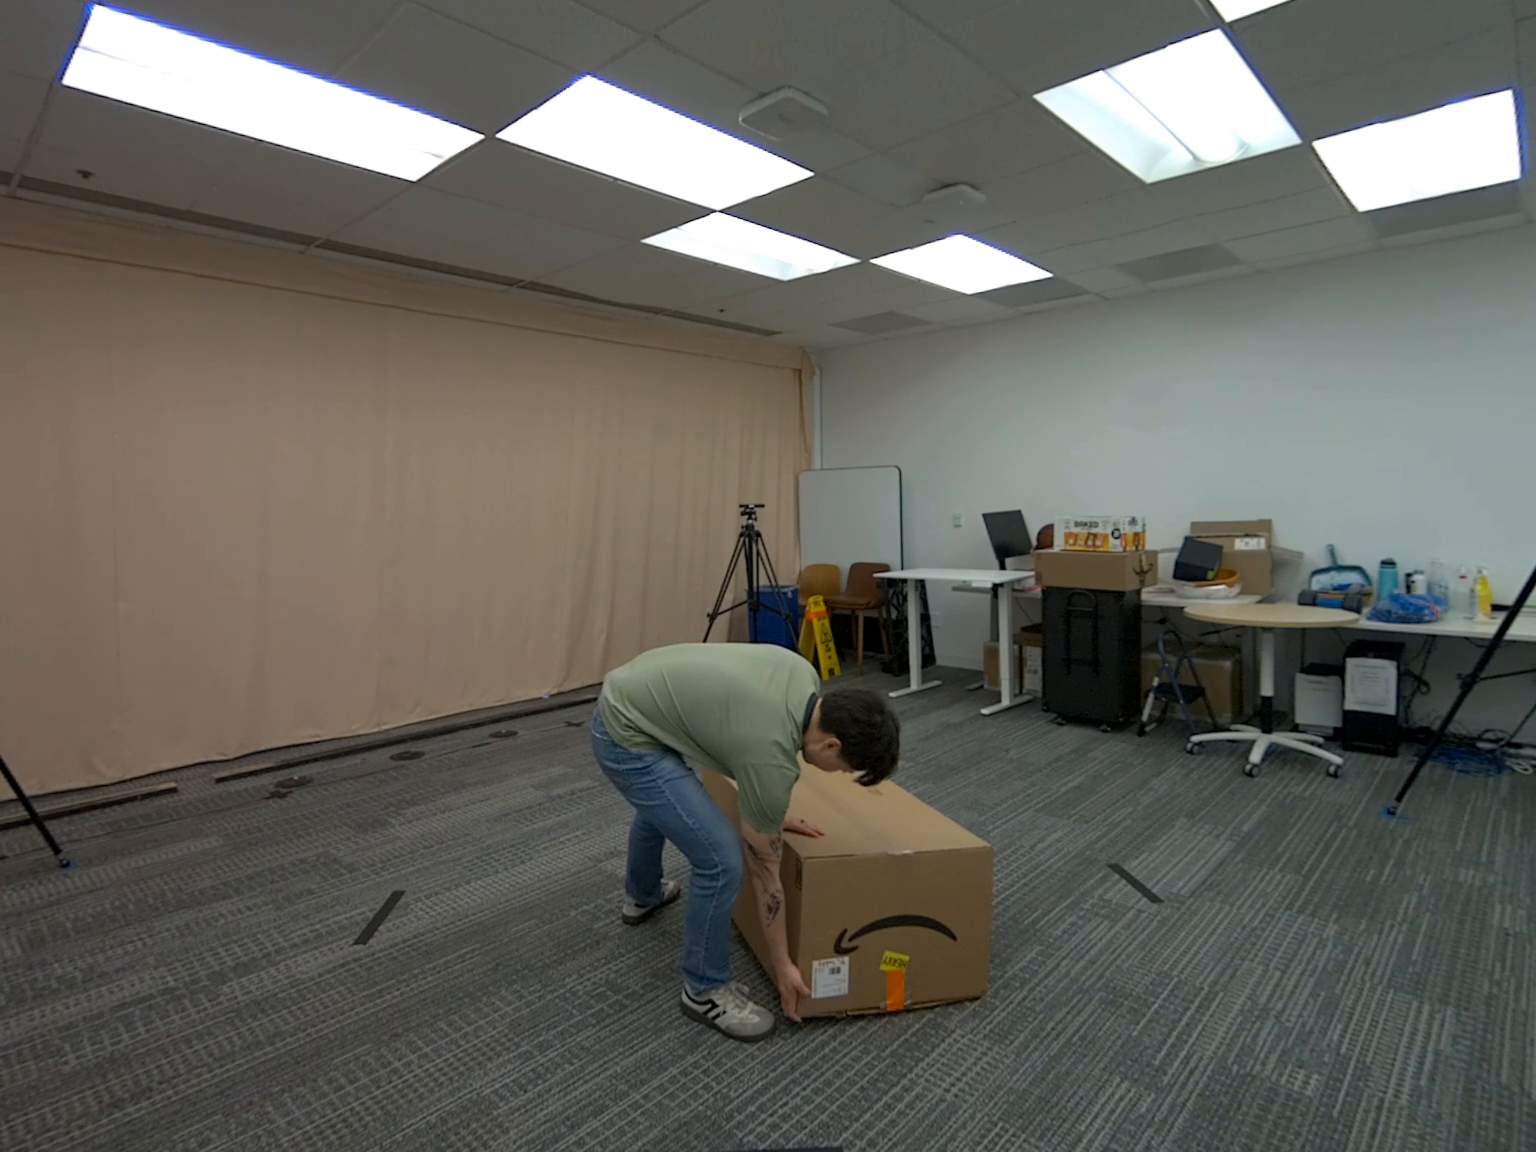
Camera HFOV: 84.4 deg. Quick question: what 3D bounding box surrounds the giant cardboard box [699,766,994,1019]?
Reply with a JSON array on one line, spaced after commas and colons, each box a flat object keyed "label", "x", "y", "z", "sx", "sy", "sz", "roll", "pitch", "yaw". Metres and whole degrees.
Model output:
[{"label": "giant cardboard box", "x": 0.188, "y": 0.917, "z": 2.762, "sx": 0.567, "sy": 0.425, "sz": 1.046, "roll": 1, "pitch": 3, "yaw": -18}]
